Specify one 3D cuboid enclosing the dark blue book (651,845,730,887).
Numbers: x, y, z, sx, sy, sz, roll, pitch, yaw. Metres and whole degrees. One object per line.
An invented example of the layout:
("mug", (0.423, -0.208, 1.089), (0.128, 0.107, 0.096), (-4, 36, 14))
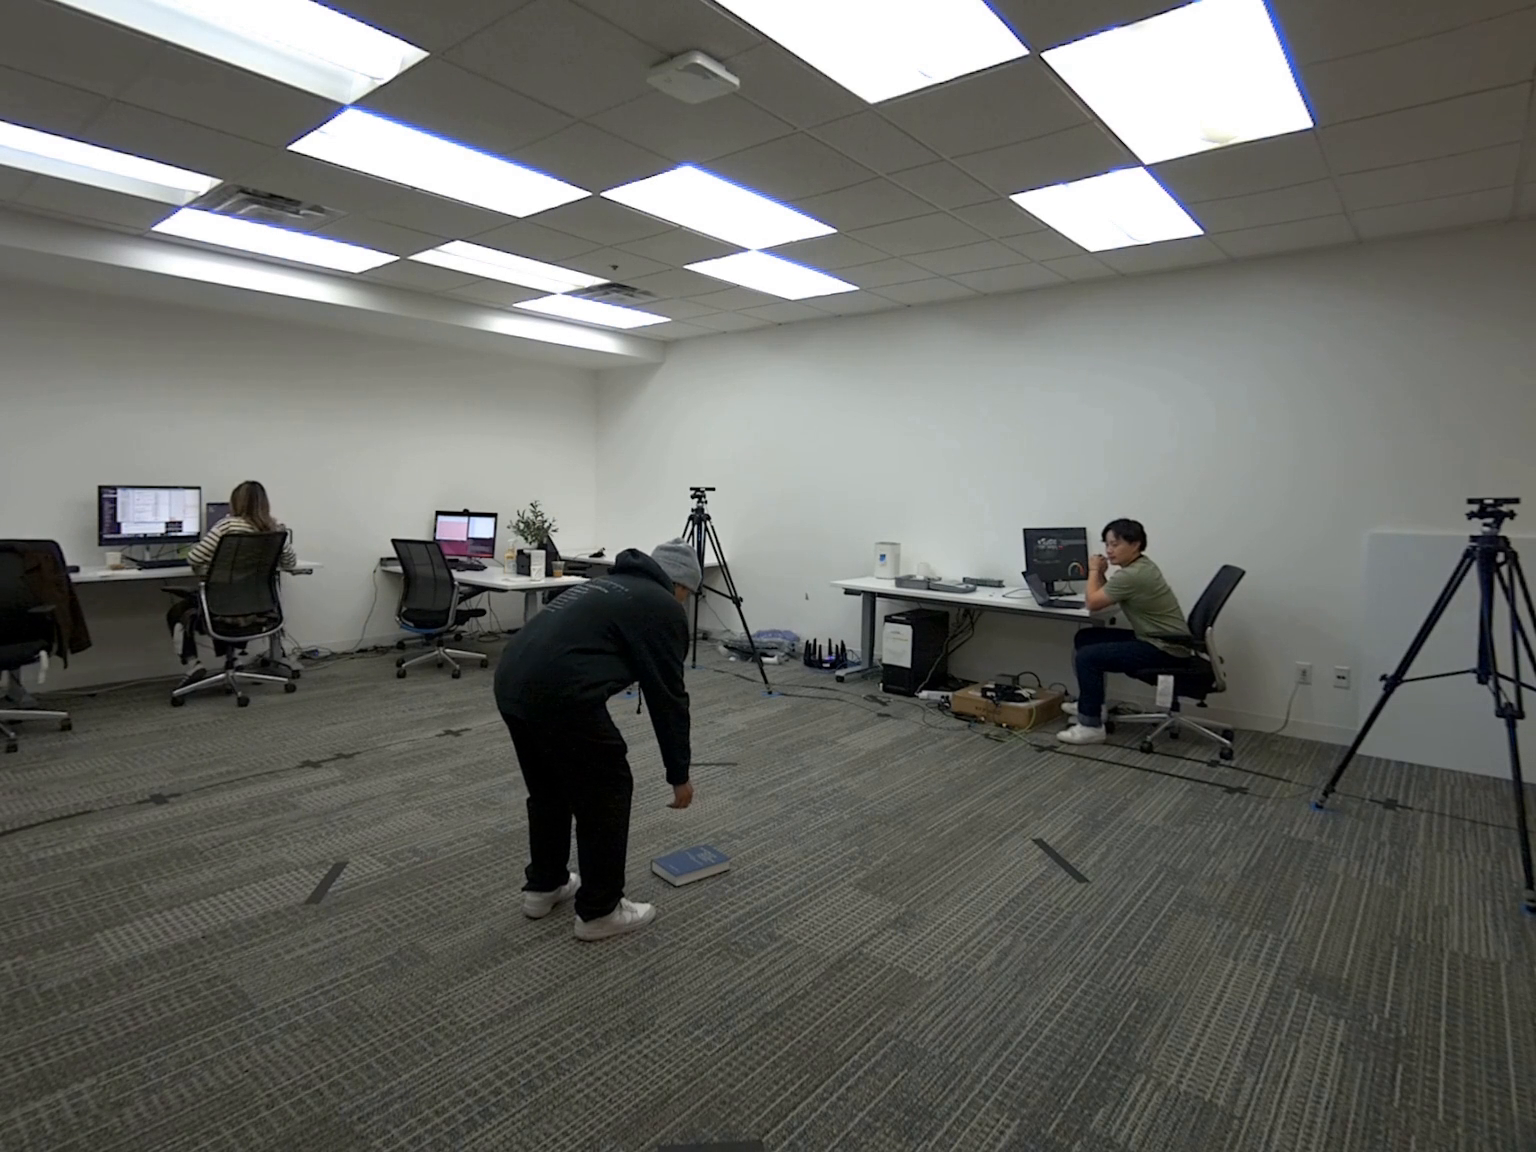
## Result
("dark blue book", (-0.288, 1.042, 3.082), (0.238, 0.045, 0.169), (-3, 7, -39))
